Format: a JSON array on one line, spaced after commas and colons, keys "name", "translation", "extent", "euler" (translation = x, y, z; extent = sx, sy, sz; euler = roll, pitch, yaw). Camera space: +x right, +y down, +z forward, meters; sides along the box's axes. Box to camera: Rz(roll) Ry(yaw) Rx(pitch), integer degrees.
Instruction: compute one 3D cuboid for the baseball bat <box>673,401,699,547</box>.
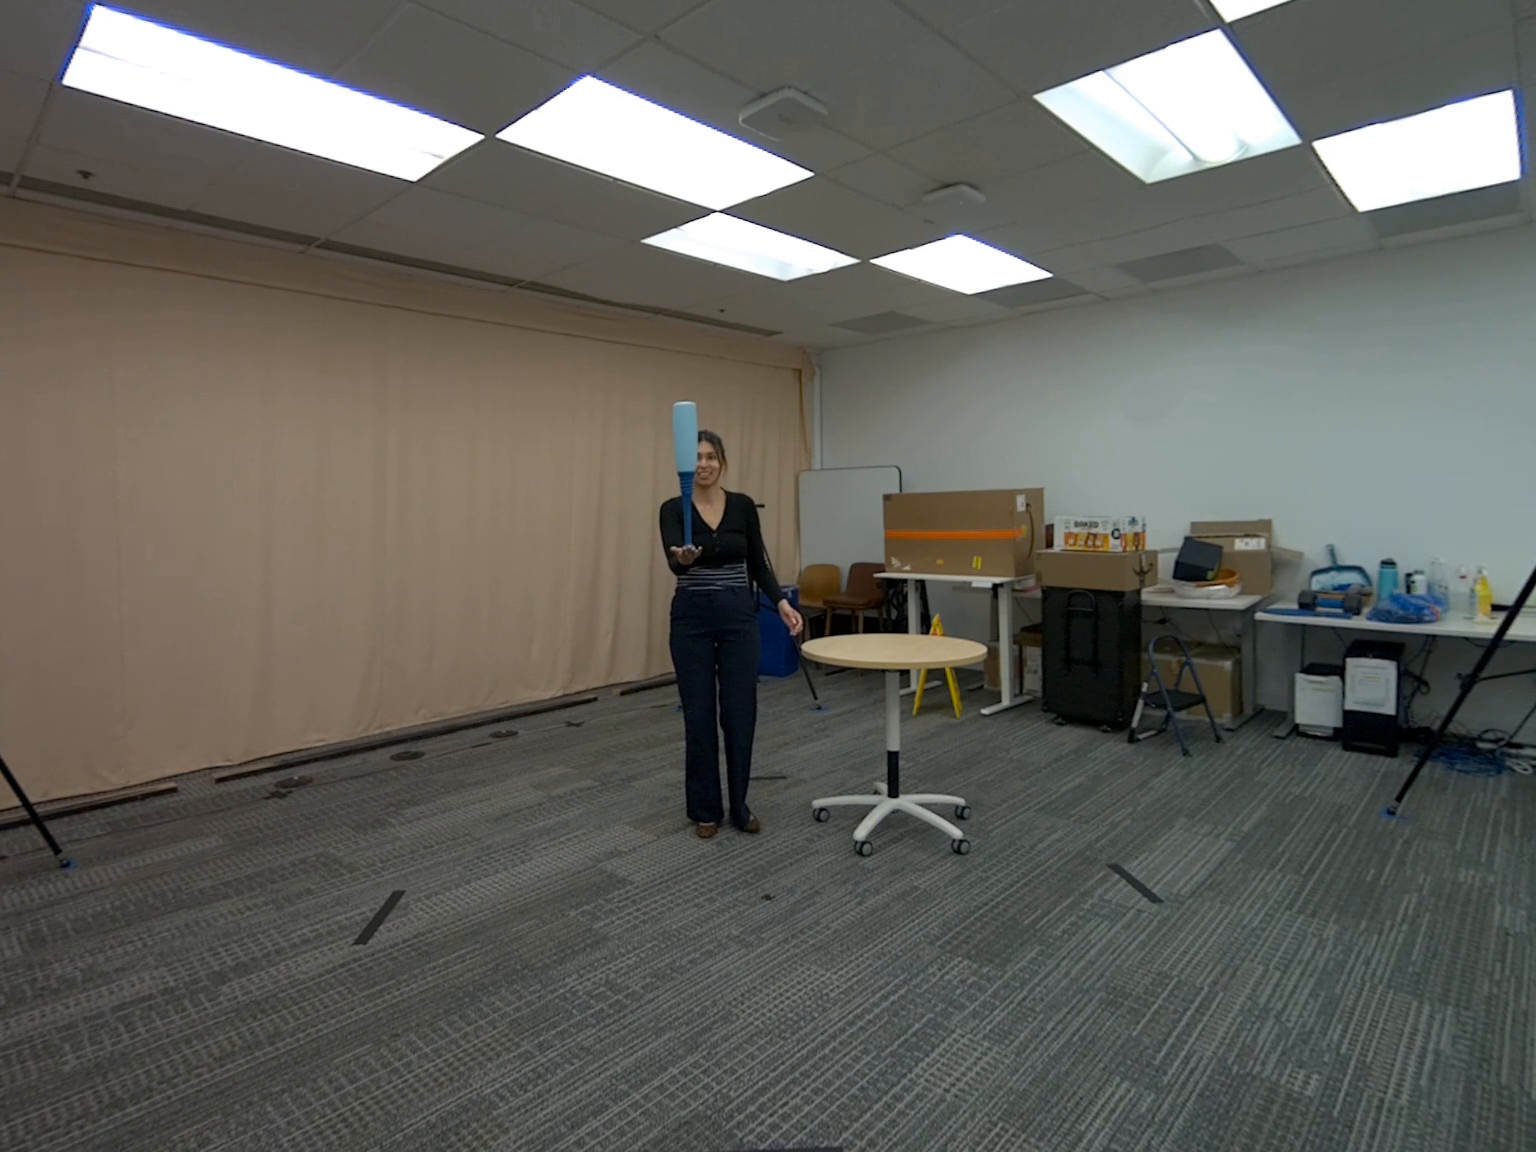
[{"name": "baseball bat", "translation": [-0.288, -0.360, 3.066], "extent": [0.089, 0.542, 0.089], "euler": [-2, 3, -2]}]
